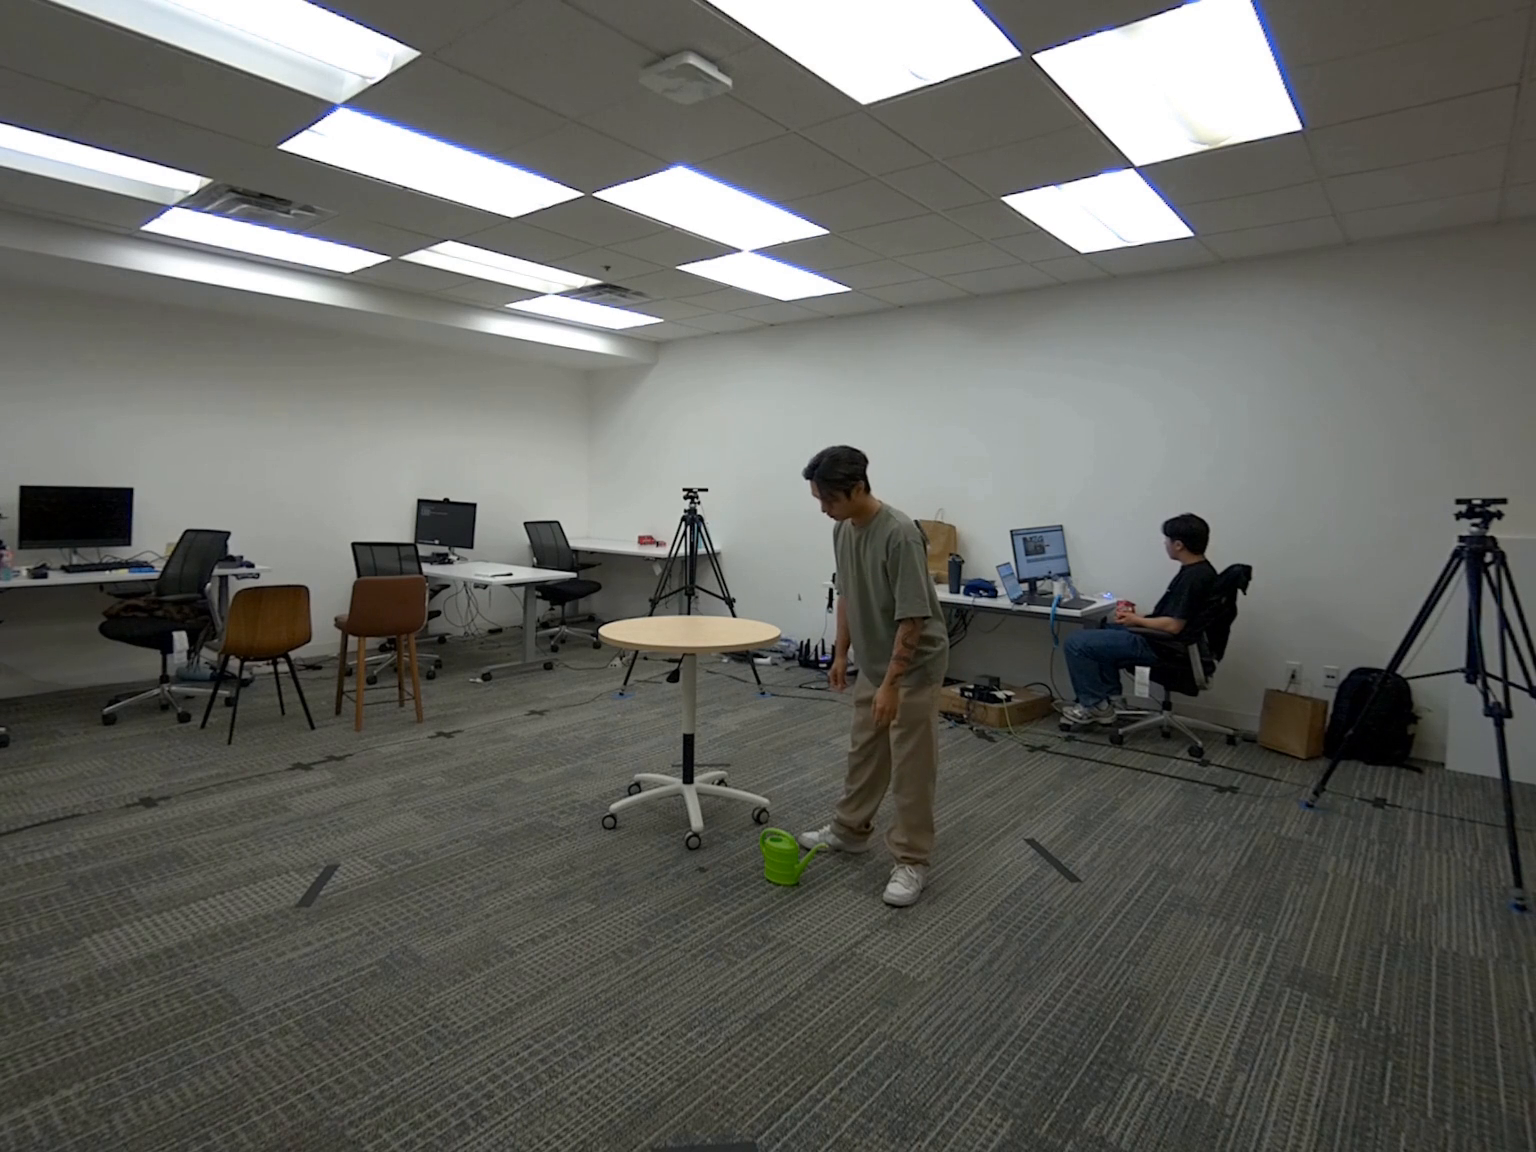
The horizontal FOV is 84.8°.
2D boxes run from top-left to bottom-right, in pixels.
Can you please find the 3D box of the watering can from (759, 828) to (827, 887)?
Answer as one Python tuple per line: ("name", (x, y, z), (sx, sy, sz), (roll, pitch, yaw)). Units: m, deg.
("watering can", (0.066, 0.990, 3.014), (0.095, 0.176, 0.288), (-3, 5, -42))
